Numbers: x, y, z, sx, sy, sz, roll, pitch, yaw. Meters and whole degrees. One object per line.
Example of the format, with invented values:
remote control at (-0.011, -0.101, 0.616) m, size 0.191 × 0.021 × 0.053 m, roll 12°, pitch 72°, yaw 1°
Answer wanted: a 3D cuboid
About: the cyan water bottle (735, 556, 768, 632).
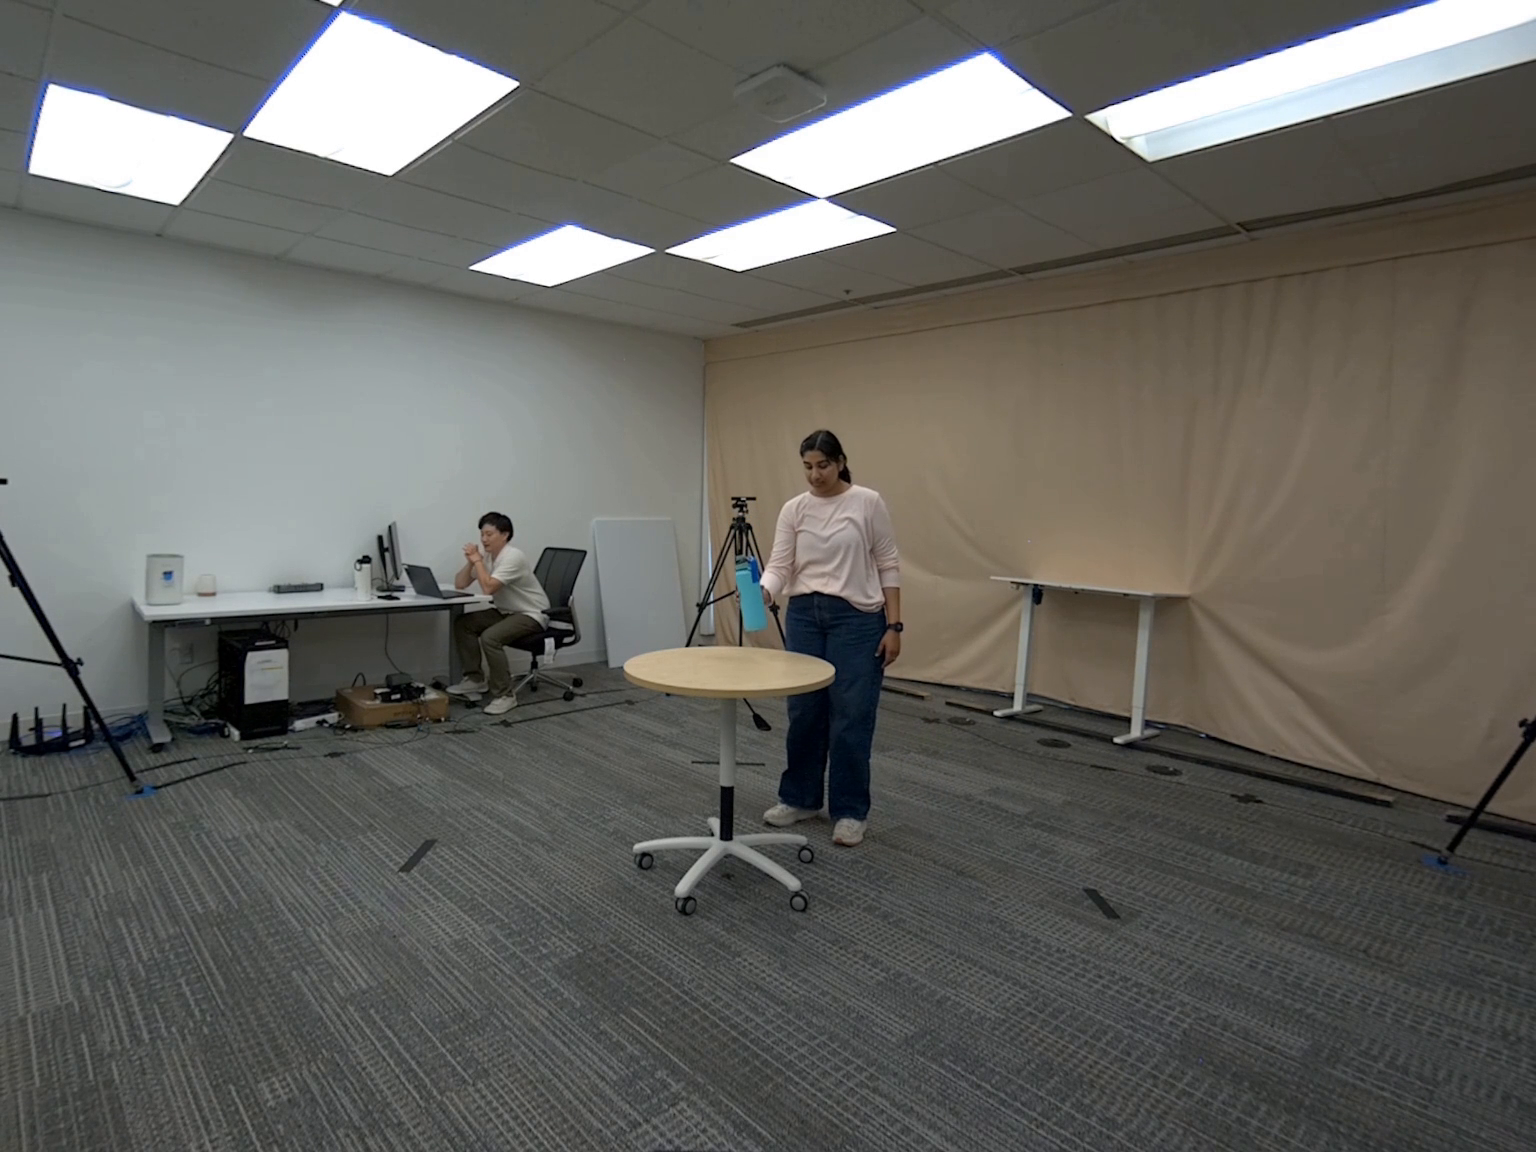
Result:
cyan water bottle at (-0.074, 0.062, 3.179) m, size 0.092 × 0.283 × 0.092 m, roll -7°, pitch 0°, yaw -1°
